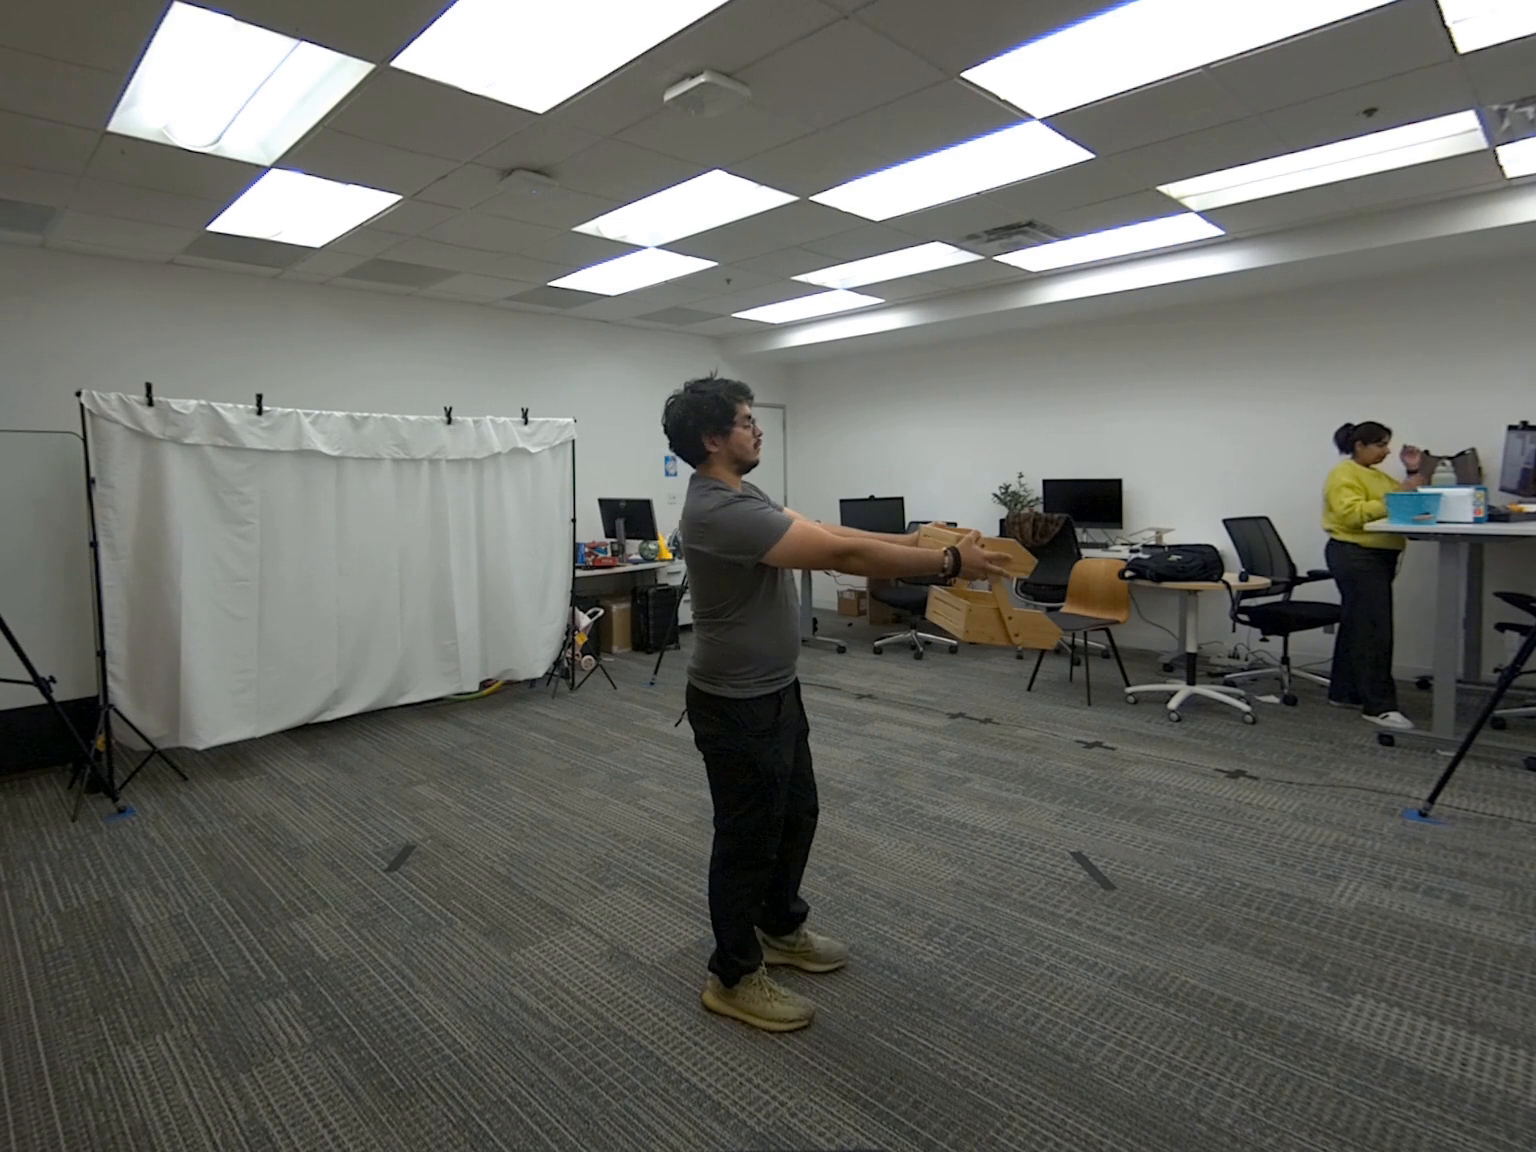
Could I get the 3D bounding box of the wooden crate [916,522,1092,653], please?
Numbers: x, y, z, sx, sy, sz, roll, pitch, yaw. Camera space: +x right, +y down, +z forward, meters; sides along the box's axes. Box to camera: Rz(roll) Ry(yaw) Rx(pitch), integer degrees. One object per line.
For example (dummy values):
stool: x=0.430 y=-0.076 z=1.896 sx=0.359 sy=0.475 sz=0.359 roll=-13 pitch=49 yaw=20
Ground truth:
wooden crate: x=0.599 y=0.019 z=2.233 sx=0.300 sy=0.272 sz=0.328 roll=4 pitch=6 yaw=-8
